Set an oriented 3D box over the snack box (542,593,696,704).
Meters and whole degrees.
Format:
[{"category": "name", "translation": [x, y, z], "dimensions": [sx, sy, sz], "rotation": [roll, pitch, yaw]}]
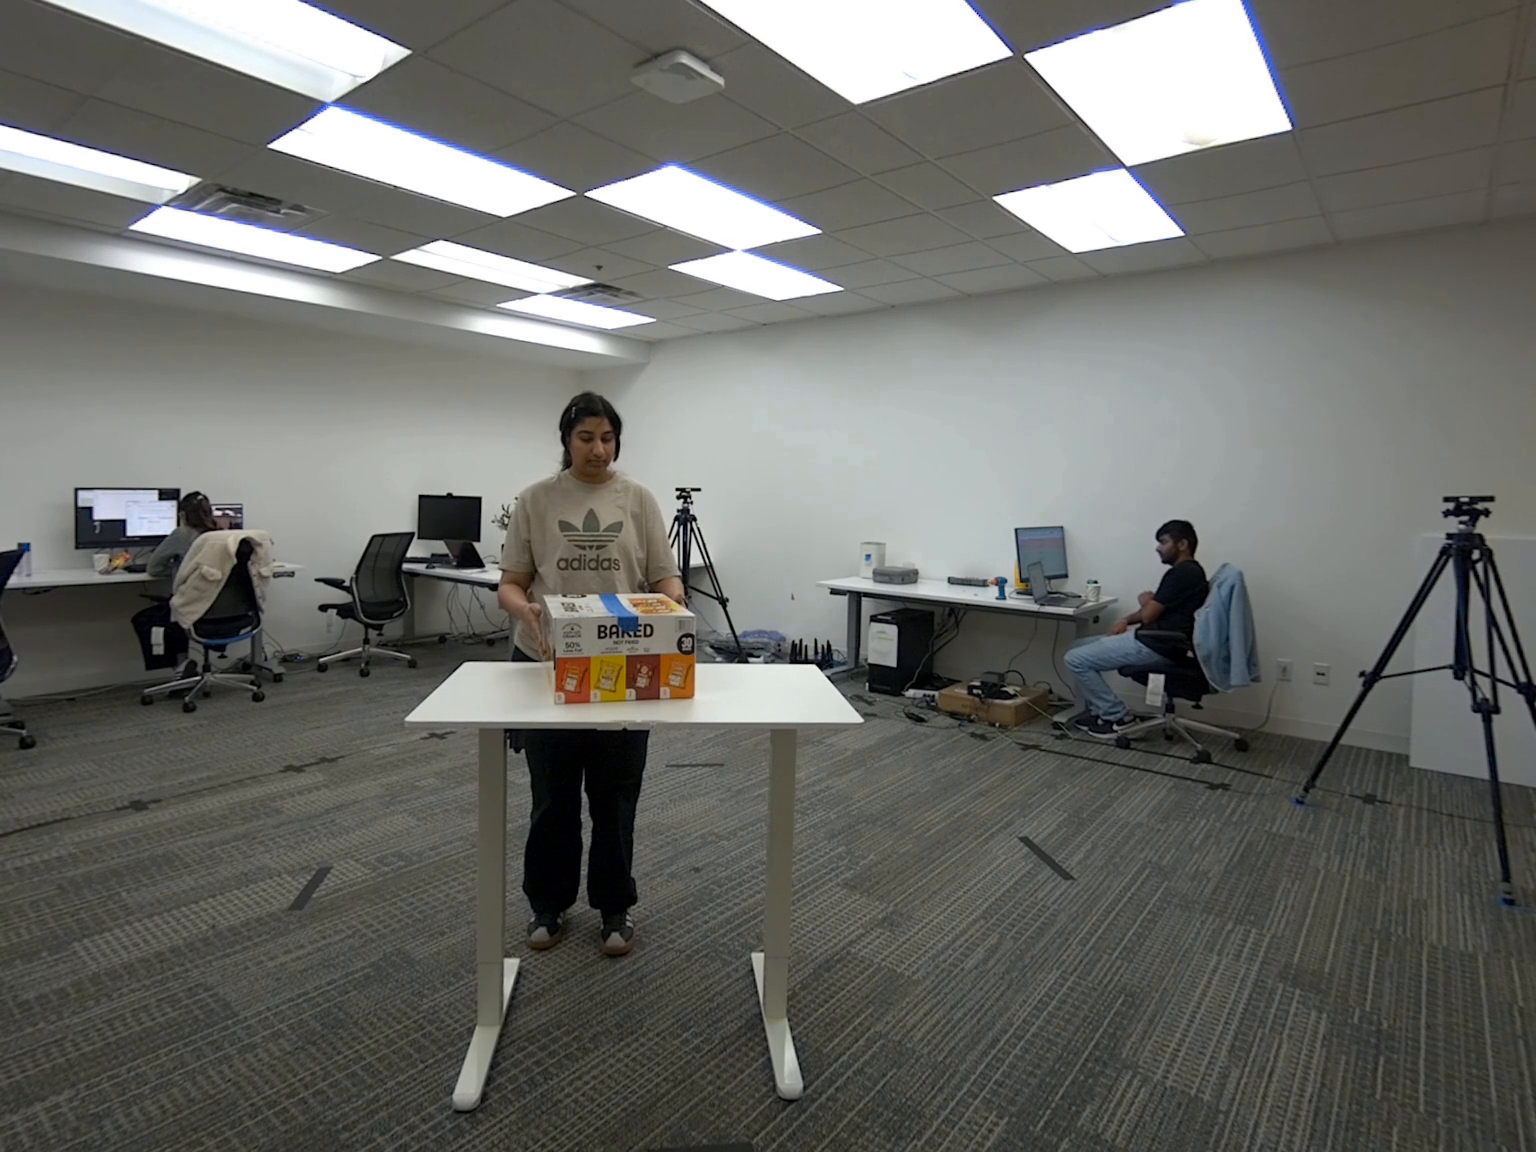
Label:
[{"category": "snack box", "translation": [-0.409, 0.171, 2.210], "dimensions": [0.334, 0.205, 0.414], "rotation": [0, 5, -17]}]
